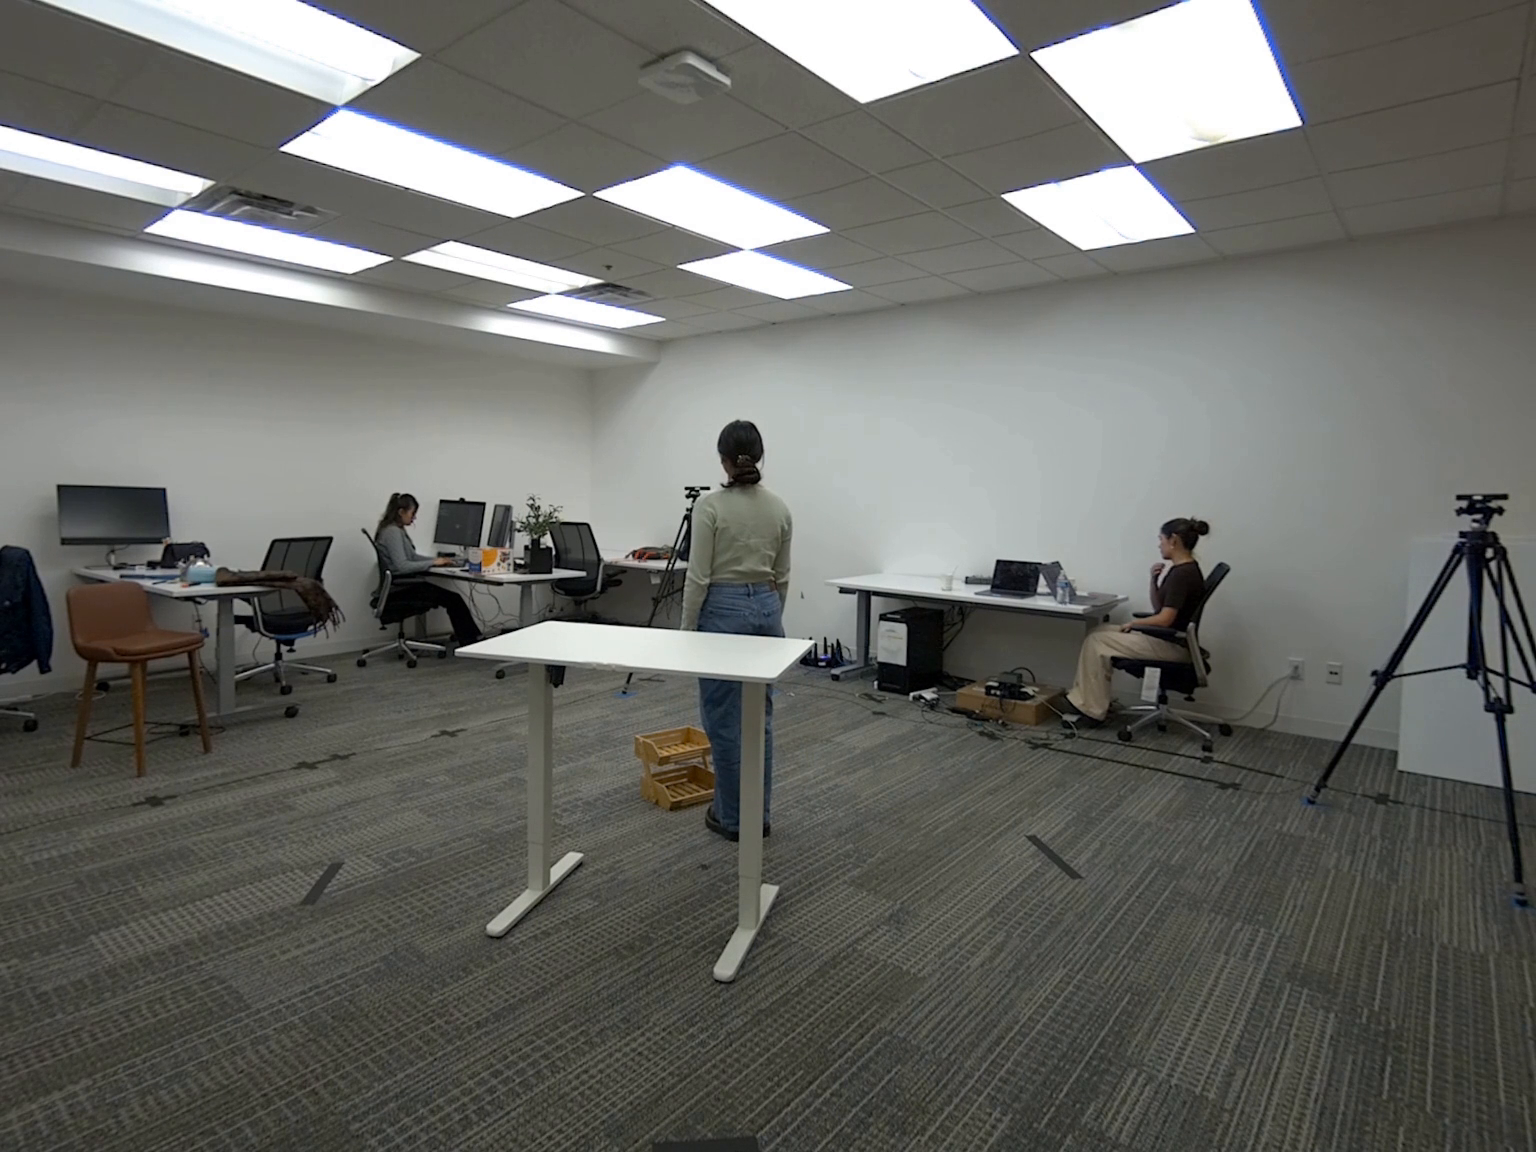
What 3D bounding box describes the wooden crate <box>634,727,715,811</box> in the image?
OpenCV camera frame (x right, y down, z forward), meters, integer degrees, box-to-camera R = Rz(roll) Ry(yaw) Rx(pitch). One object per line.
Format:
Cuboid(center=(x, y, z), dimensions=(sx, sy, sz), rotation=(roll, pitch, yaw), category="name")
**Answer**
Cuboid(center=(-0.408, 0.856, 3.851), dimensions=(0.315, 0.272, 0.312), rotation=(-3, 5, -39), category="wooden crate")
